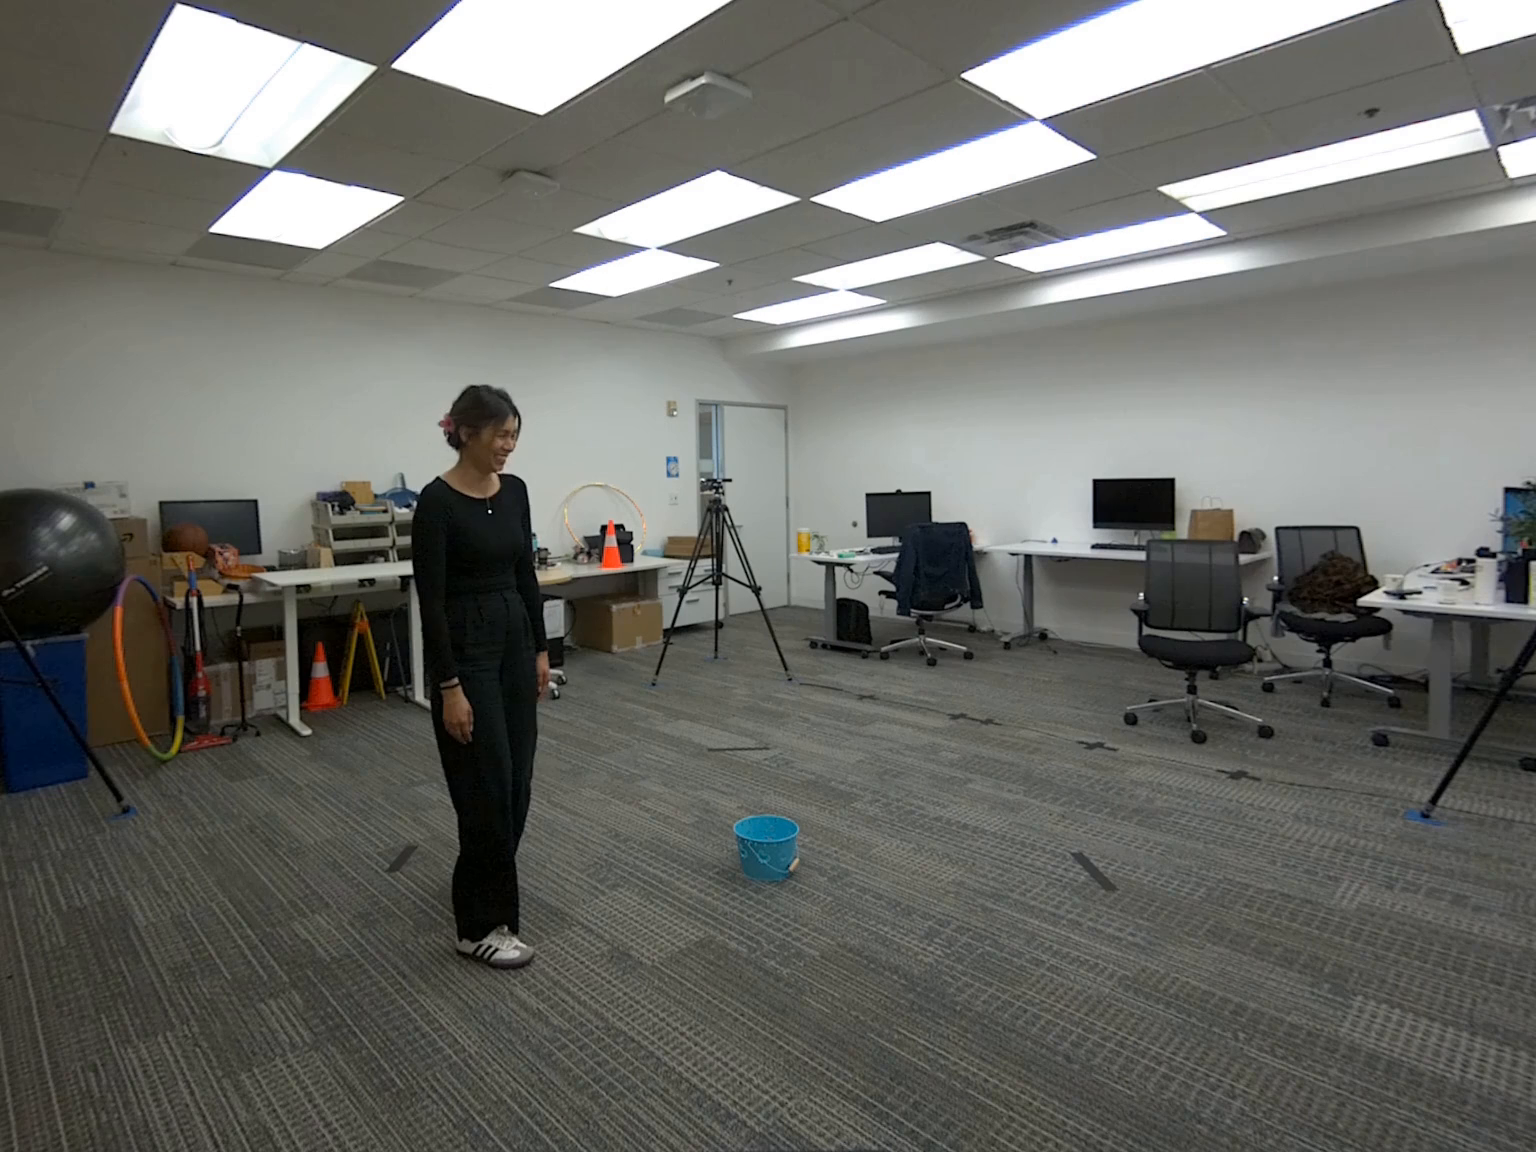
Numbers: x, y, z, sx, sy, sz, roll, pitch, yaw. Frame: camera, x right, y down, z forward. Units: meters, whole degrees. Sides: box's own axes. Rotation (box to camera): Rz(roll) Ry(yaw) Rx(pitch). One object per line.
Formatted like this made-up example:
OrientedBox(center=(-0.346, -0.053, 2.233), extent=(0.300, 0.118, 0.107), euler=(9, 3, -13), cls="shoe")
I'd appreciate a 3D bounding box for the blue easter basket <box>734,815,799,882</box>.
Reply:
OrientedBox(center=(0.000, 0.971, 3.045), extent=(0.243, 0.155, 0.245), euler=(-1, 5, -2), cls="blue easter basket")
